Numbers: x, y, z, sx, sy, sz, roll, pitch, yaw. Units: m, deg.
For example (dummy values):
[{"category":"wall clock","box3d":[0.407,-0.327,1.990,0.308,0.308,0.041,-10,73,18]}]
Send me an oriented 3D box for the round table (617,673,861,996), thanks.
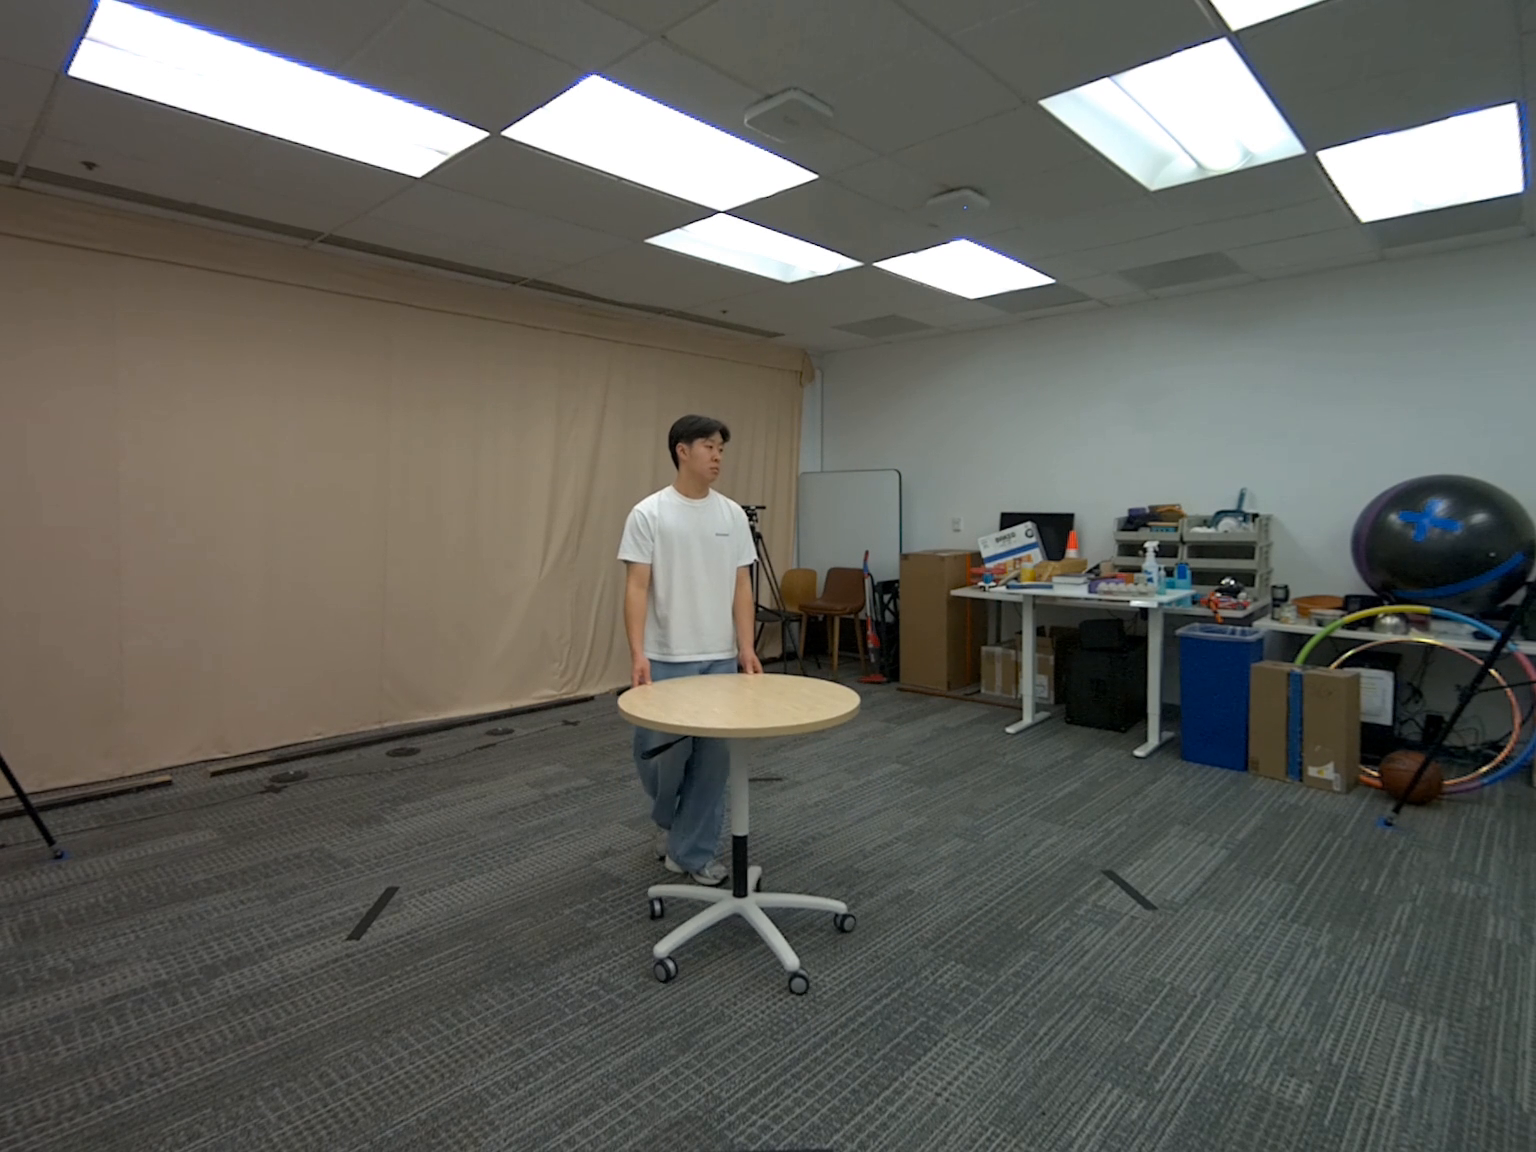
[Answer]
[{"category":"round table","box3d":[-0.084,0.780,2.698,0.763,0.792,0.766,-1,4,-2]}]
